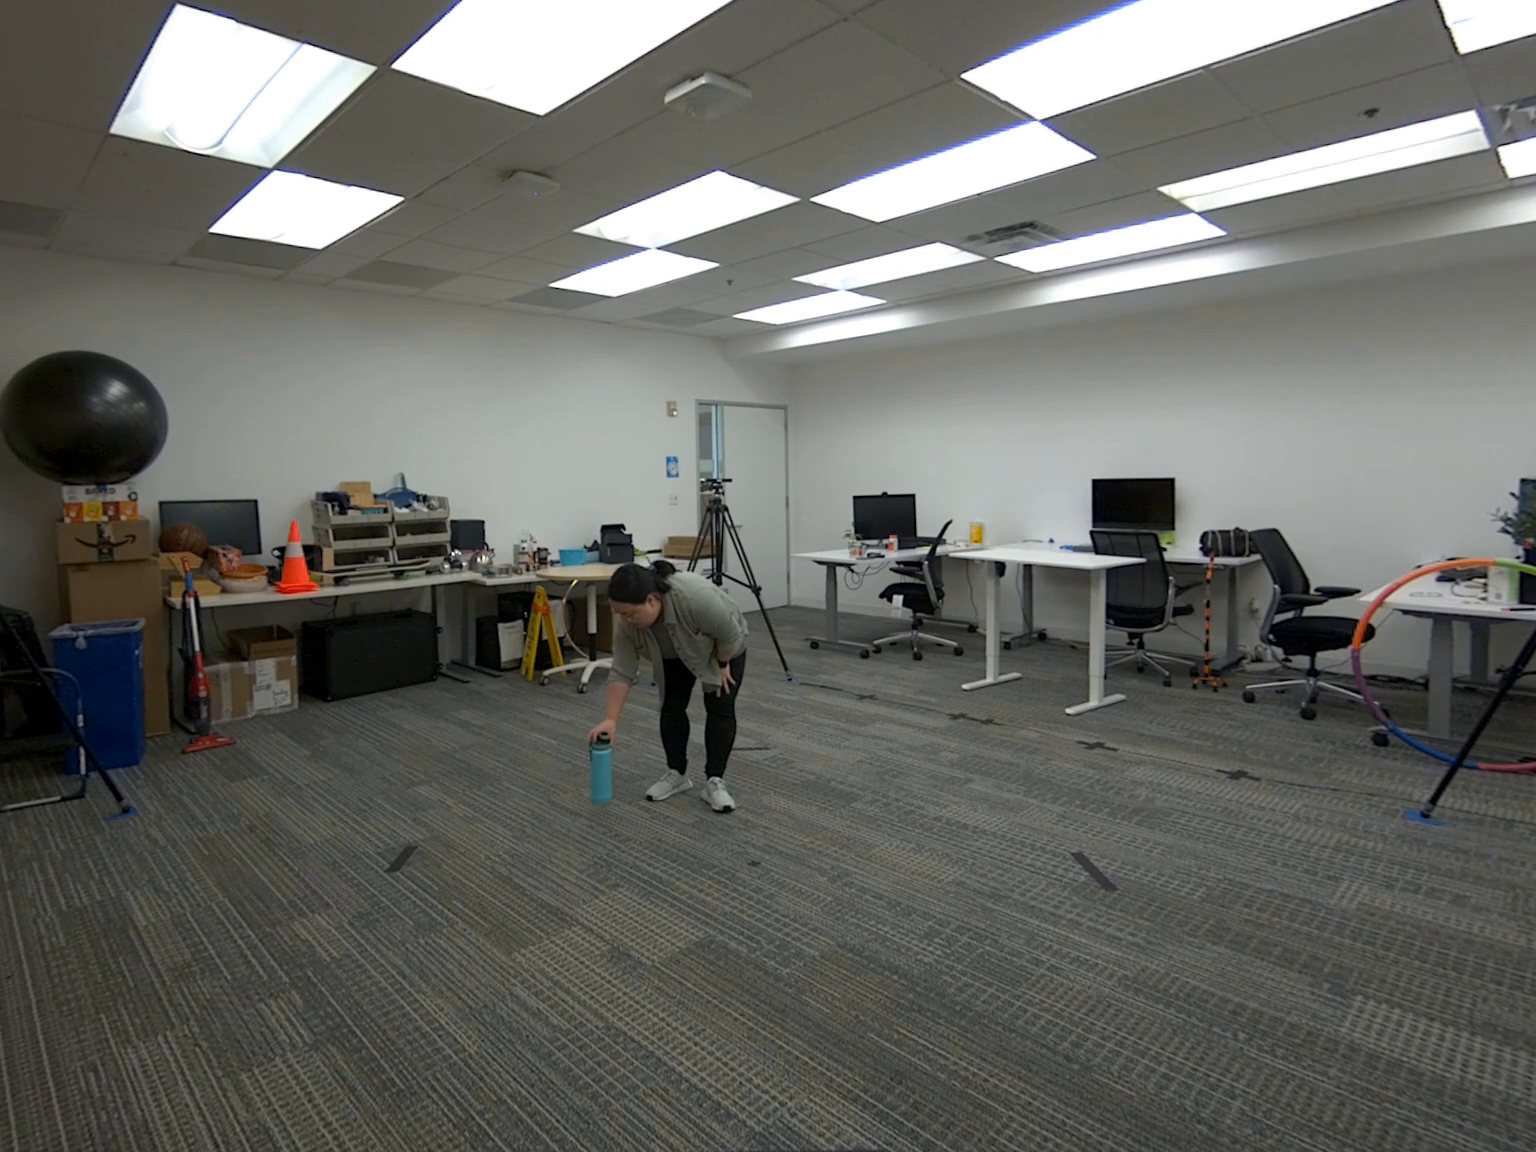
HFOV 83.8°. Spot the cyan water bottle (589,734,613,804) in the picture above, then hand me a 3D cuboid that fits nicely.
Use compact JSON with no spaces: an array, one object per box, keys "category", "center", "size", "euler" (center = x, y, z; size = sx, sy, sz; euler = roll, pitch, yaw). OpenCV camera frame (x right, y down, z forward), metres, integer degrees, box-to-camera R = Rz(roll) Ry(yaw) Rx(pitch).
[{"category":"cyan water bottle","center":[-0.696,0.796,3.557],"size":[0.092,0.281,0.093],"euler":[1,8,-2]}]
